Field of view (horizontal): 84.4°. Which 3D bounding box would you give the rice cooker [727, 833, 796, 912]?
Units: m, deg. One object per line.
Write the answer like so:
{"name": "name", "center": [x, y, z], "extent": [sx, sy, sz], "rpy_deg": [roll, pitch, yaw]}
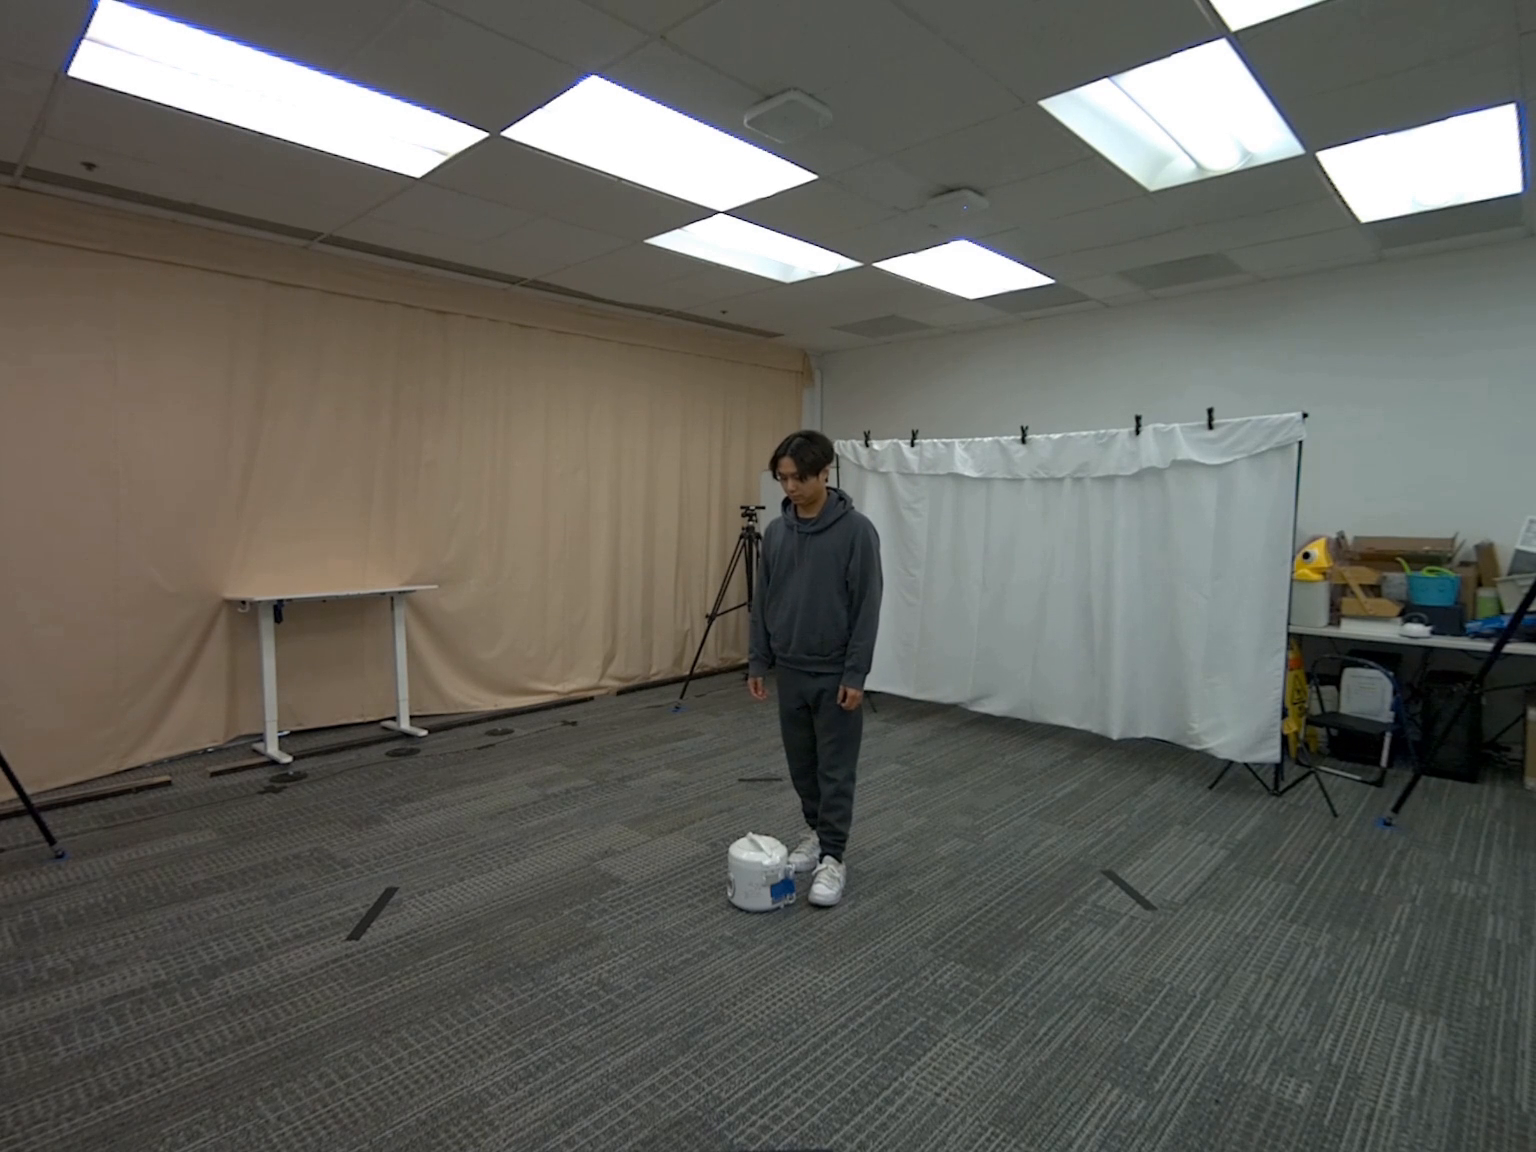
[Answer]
{"name": "rice cooker", "center": [-0.032, 1.030, 2.952], "extent": [0.212, 0.232, 0.226], "rpy_deg": [-1, 4, -25]}
